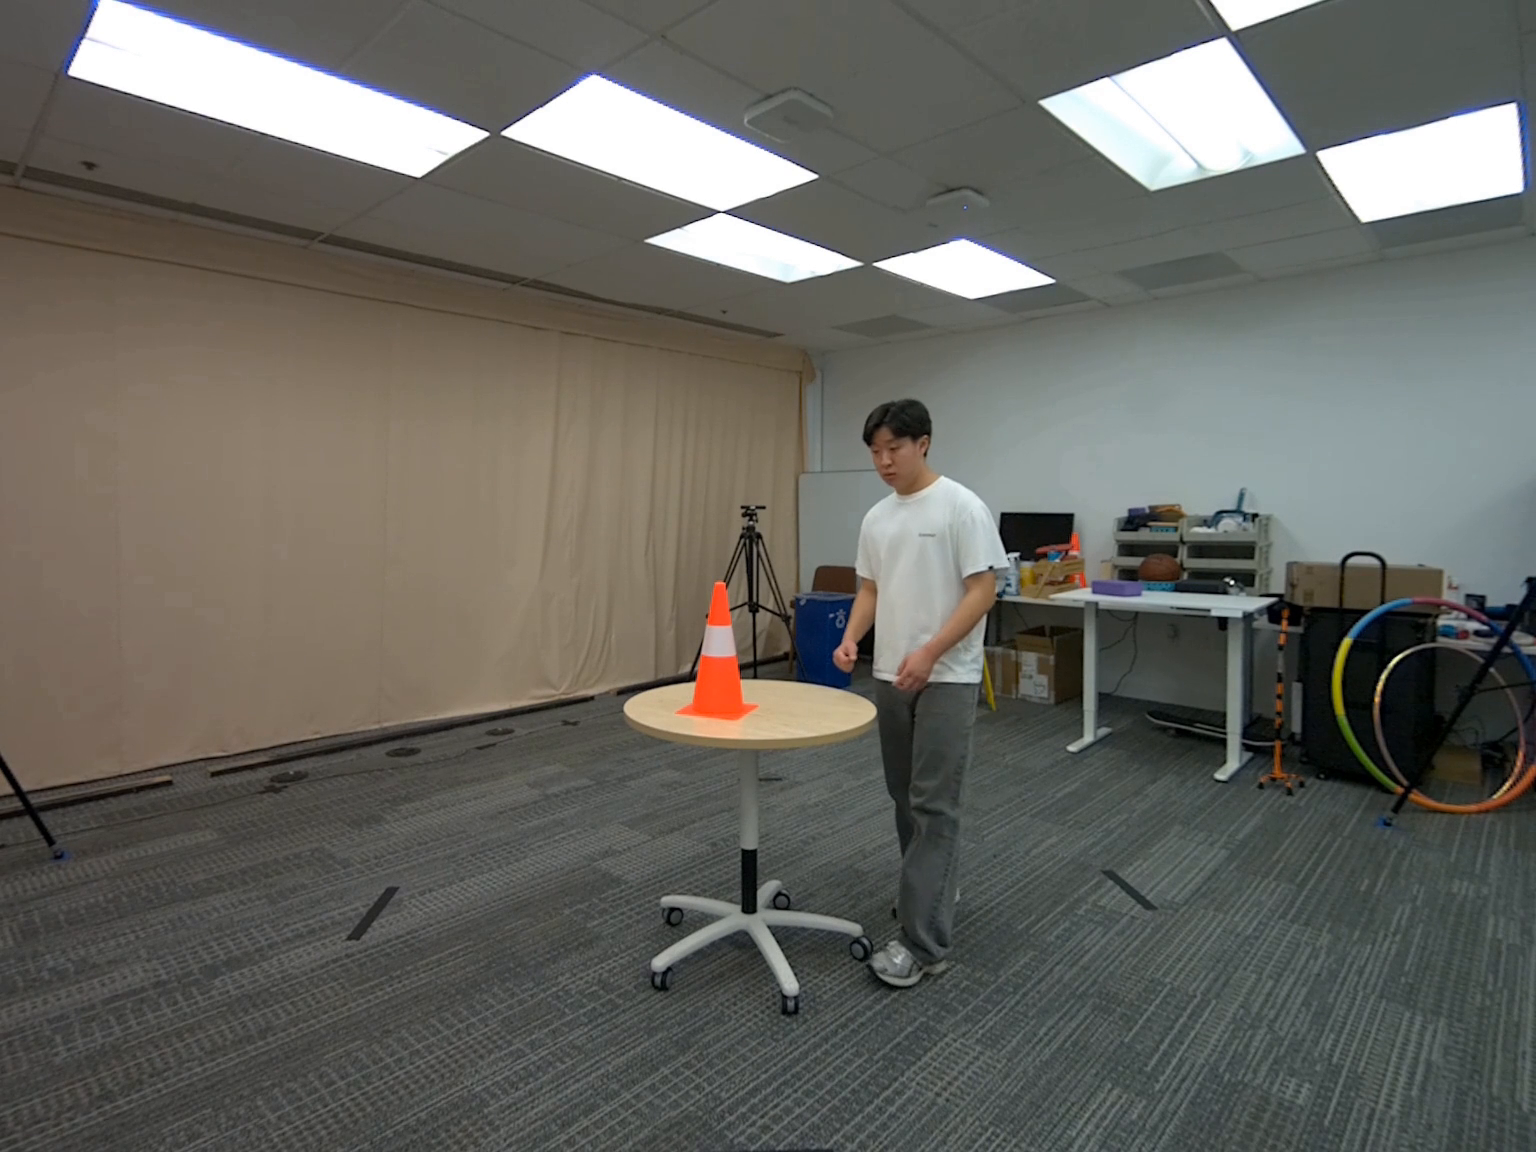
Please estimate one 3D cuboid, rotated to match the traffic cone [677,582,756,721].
[{"bbox_3d":[-0.135,0.219,2.509,0.210,0.383,0.198,1,2,25],"label":"traffic cone"}]
